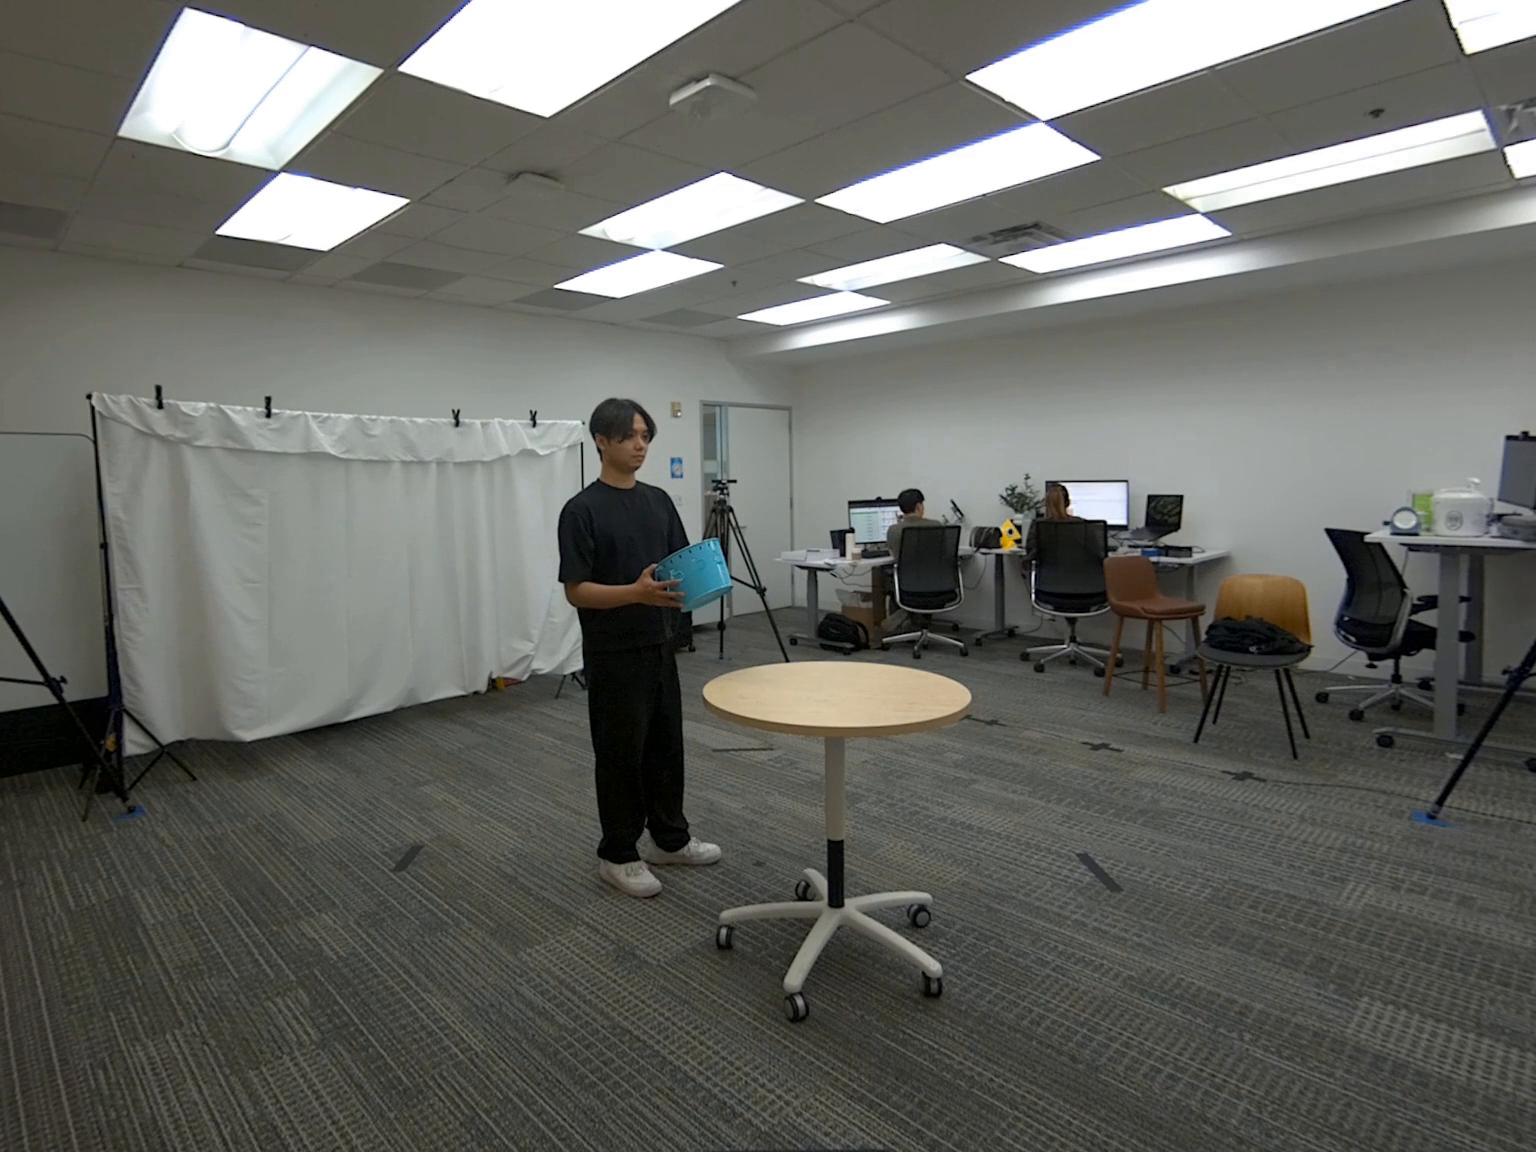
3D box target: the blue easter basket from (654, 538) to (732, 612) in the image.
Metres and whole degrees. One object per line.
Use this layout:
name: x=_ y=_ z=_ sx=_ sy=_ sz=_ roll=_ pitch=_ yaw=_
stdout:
blue easter basket: x=-0.230 y=0.002 z=2.691 sx=0.243 sy=0.158 sz=0.241 roll=-25 pitch=-10 yaw=-7
